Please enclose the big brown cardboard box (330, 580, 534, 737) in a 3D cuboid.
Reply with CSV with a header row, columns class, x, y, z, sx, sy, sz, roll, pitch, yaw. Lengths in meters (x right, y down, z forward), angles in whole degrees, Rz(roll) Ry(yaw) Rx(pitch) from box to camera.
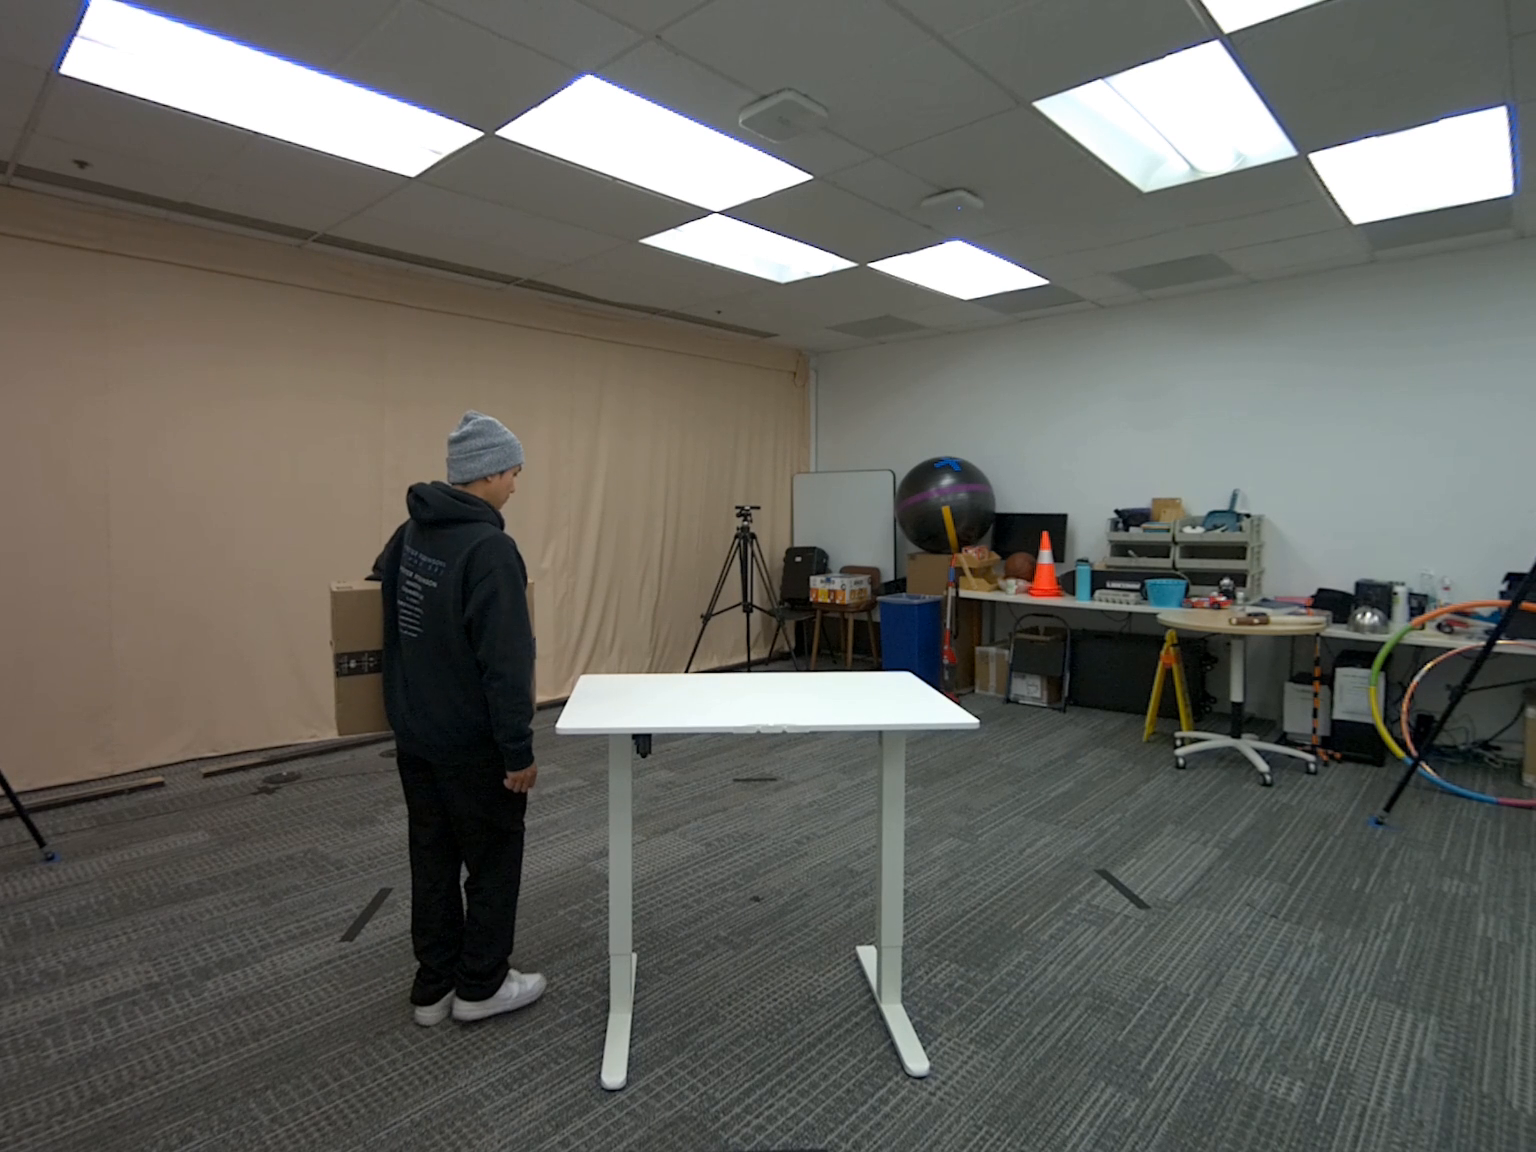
class,x,y,z,sx,sy,sz,roll,pitch,yaw
big brown cardboard box,-1.002,0.223,2.565,0.575,0.416,0.239,-2,5,-24
